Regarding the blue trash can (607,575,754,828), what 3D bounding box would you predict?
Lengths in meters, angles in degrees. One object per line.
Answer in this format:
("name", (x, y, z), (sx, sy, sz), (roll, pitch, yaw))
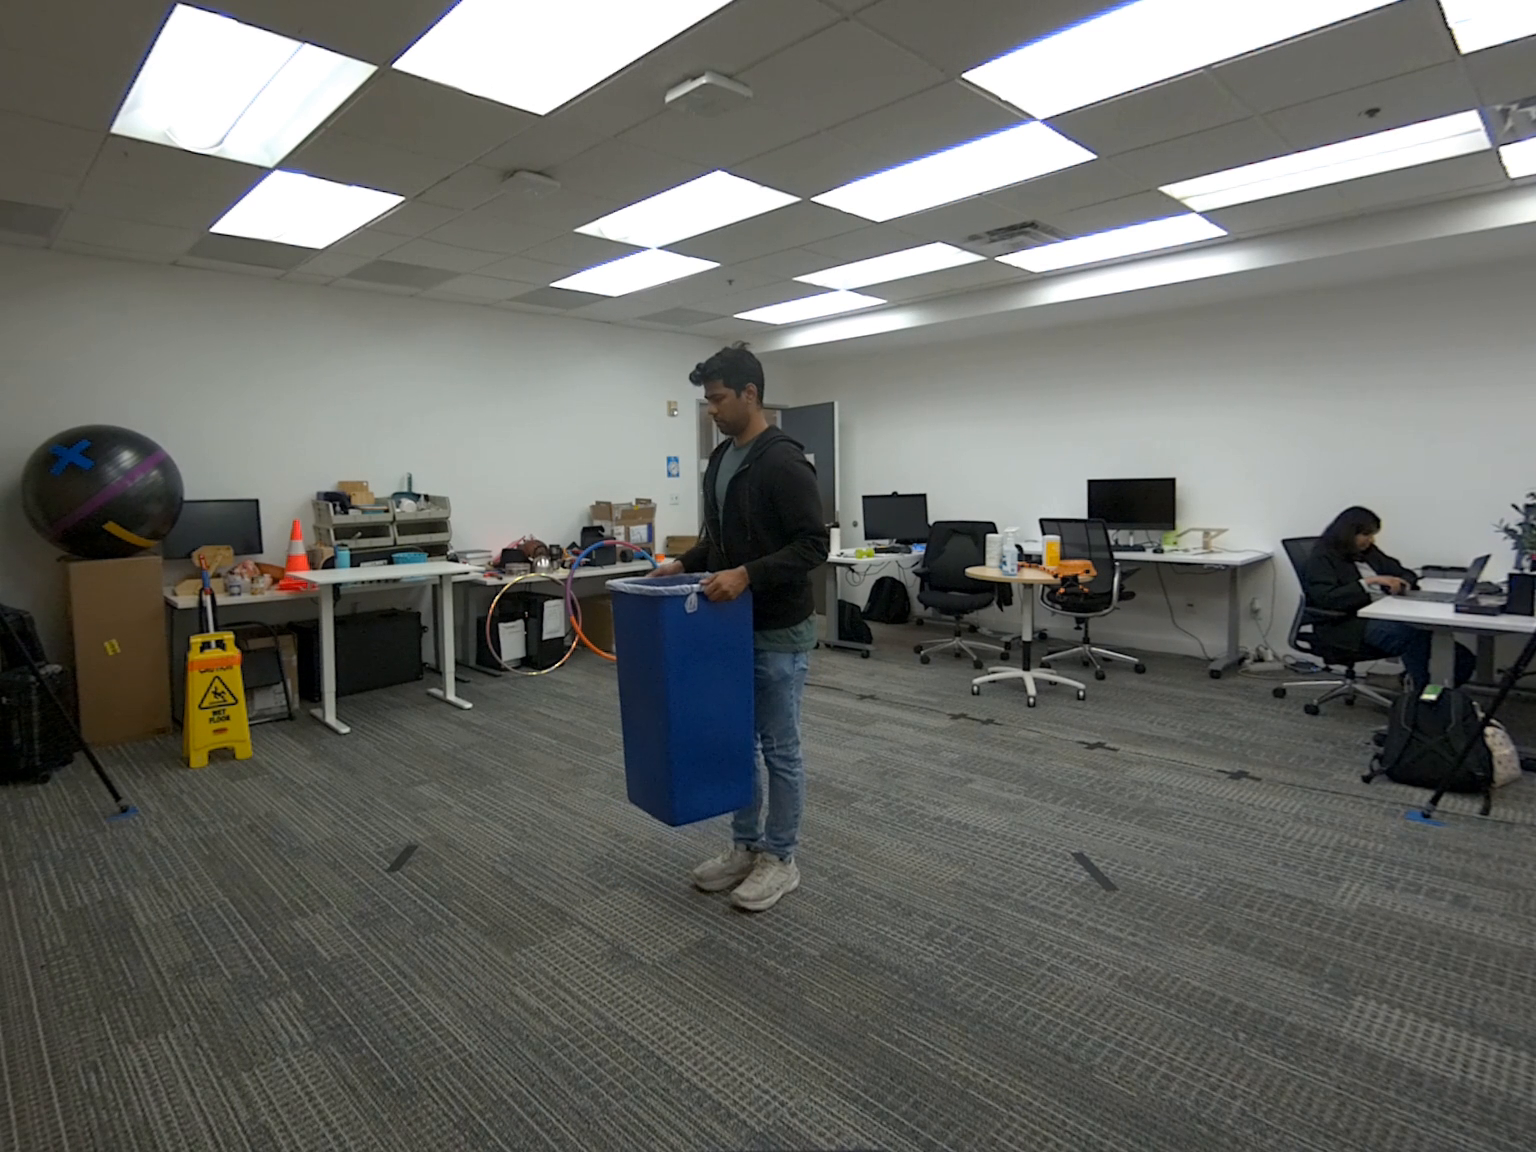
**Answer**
("blue trash can", (-0.269, 0.378, 2.707), (0.368, 0.711, 0.385), (-4, 4, -35))
